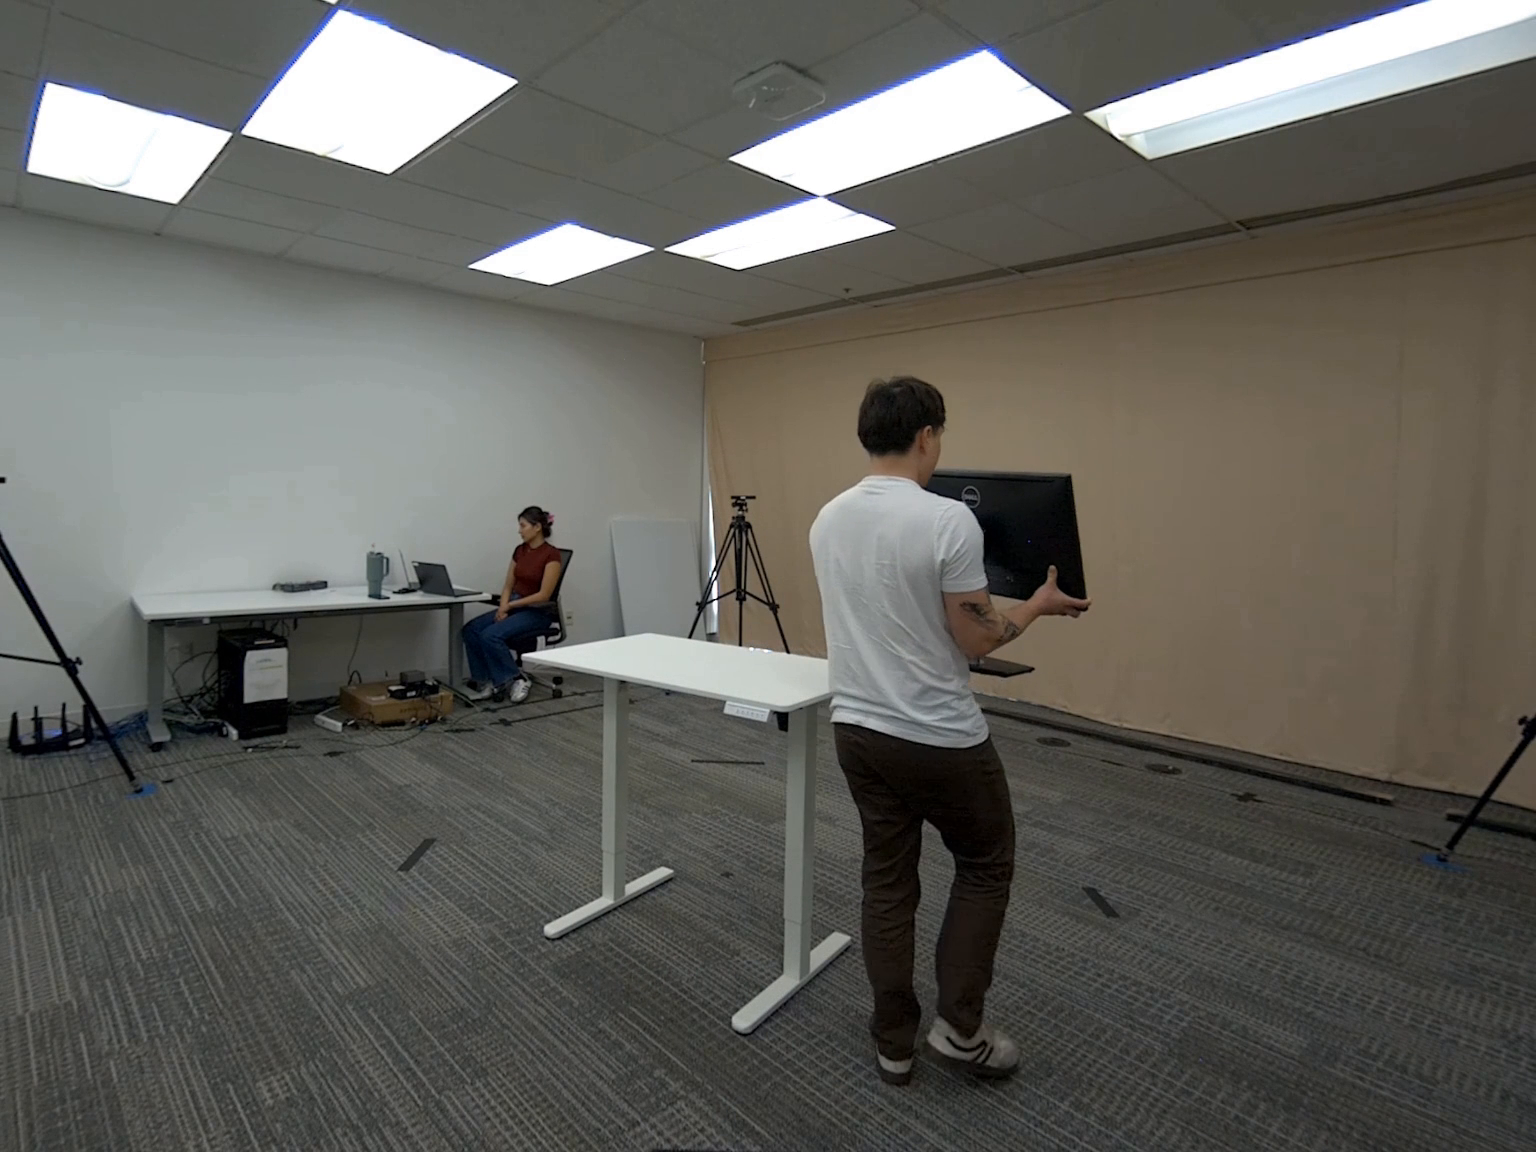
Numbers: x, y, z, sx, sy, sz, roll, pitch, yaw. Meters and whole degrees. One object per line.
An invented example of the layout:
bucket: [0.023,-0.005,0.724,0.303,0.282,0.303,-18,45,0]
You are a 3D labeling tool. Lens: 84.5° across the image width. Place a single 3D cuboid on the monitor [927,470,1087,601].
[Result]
monitor: [0.548,-0.018,2.208,0.183,0.519,0.553,-8,12,-36]
